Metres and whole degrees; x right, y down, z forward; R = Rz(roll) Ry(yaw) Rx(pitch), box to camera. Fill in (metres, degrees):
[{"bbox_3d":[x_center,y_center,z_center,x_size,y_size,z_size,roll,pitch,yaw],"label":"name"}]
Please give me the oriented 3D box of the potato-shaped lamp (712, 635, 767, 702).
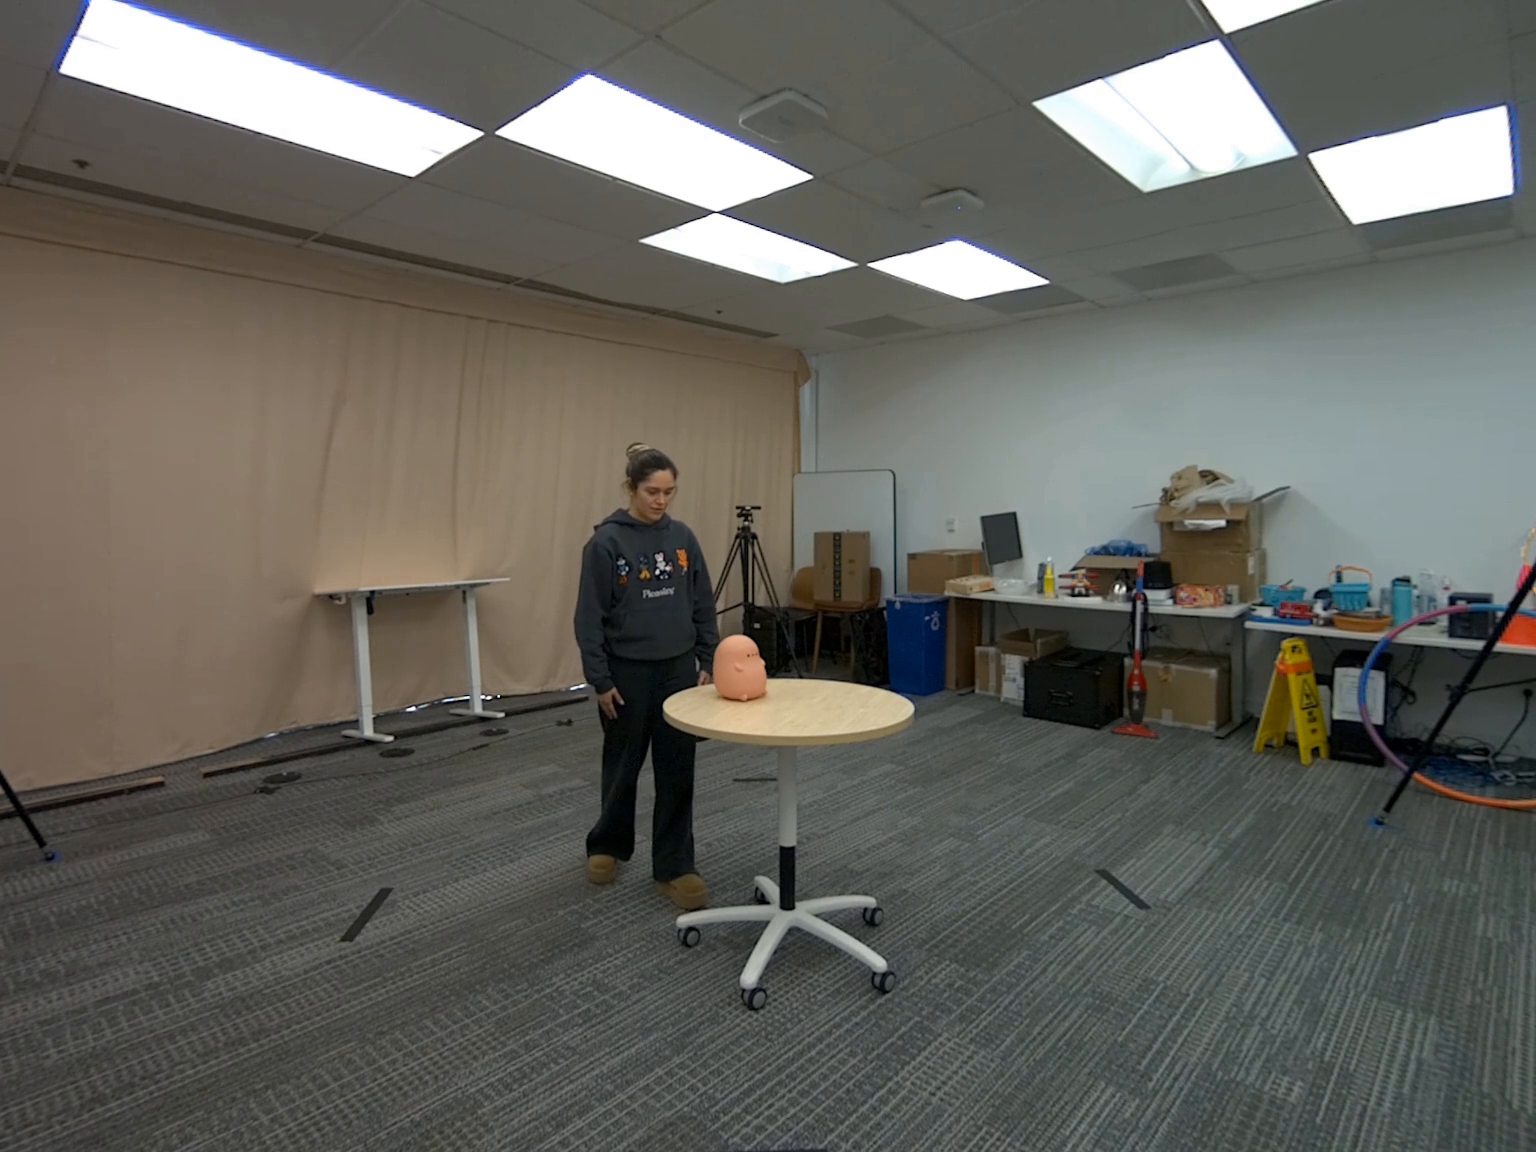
[{"bbox_3d":[-0.076,0.289,2.683,0.177,0.198,0.160,-1,2,43],"label":"potato-shaped lamp"}]
